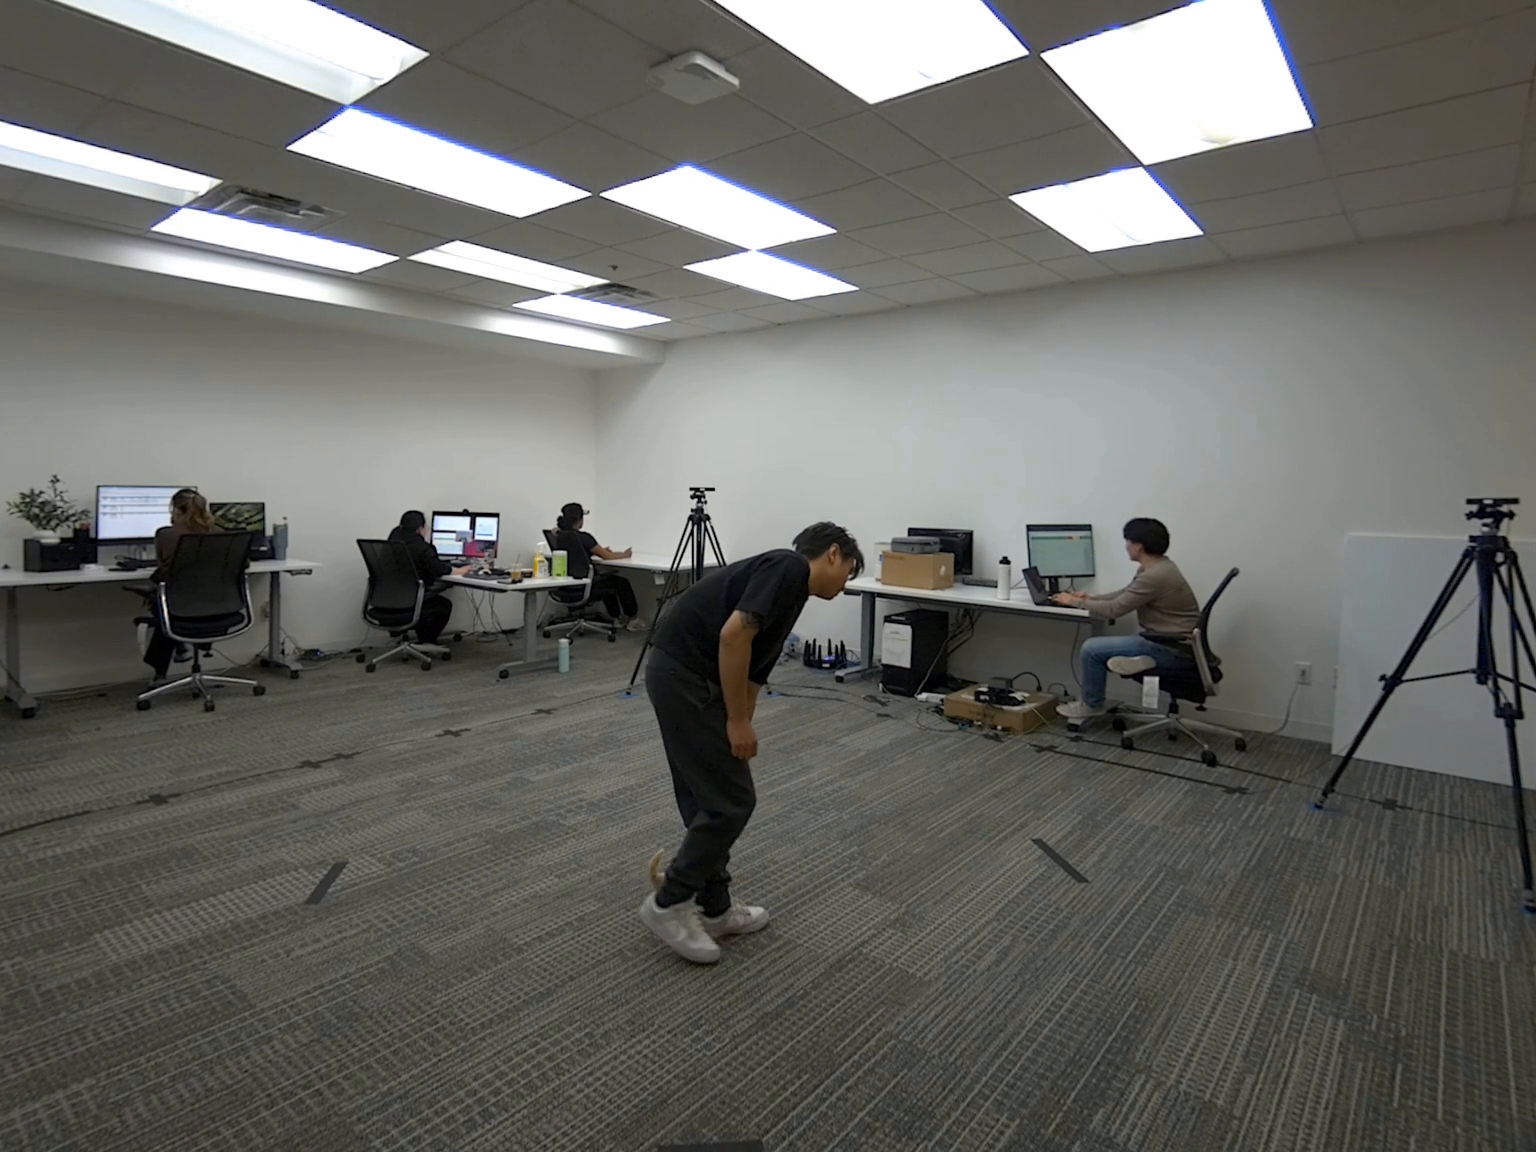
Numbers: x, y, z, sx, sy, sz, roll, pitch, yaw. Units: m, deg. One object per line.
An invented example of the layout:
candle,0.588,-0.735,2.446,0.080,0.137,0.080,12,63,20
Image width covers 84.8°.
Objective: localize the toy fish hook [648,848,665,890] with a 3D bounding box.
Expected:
toy fish hook,-0.277,0.863,2.858,0.217,0.501,0.050,2,30,-38
